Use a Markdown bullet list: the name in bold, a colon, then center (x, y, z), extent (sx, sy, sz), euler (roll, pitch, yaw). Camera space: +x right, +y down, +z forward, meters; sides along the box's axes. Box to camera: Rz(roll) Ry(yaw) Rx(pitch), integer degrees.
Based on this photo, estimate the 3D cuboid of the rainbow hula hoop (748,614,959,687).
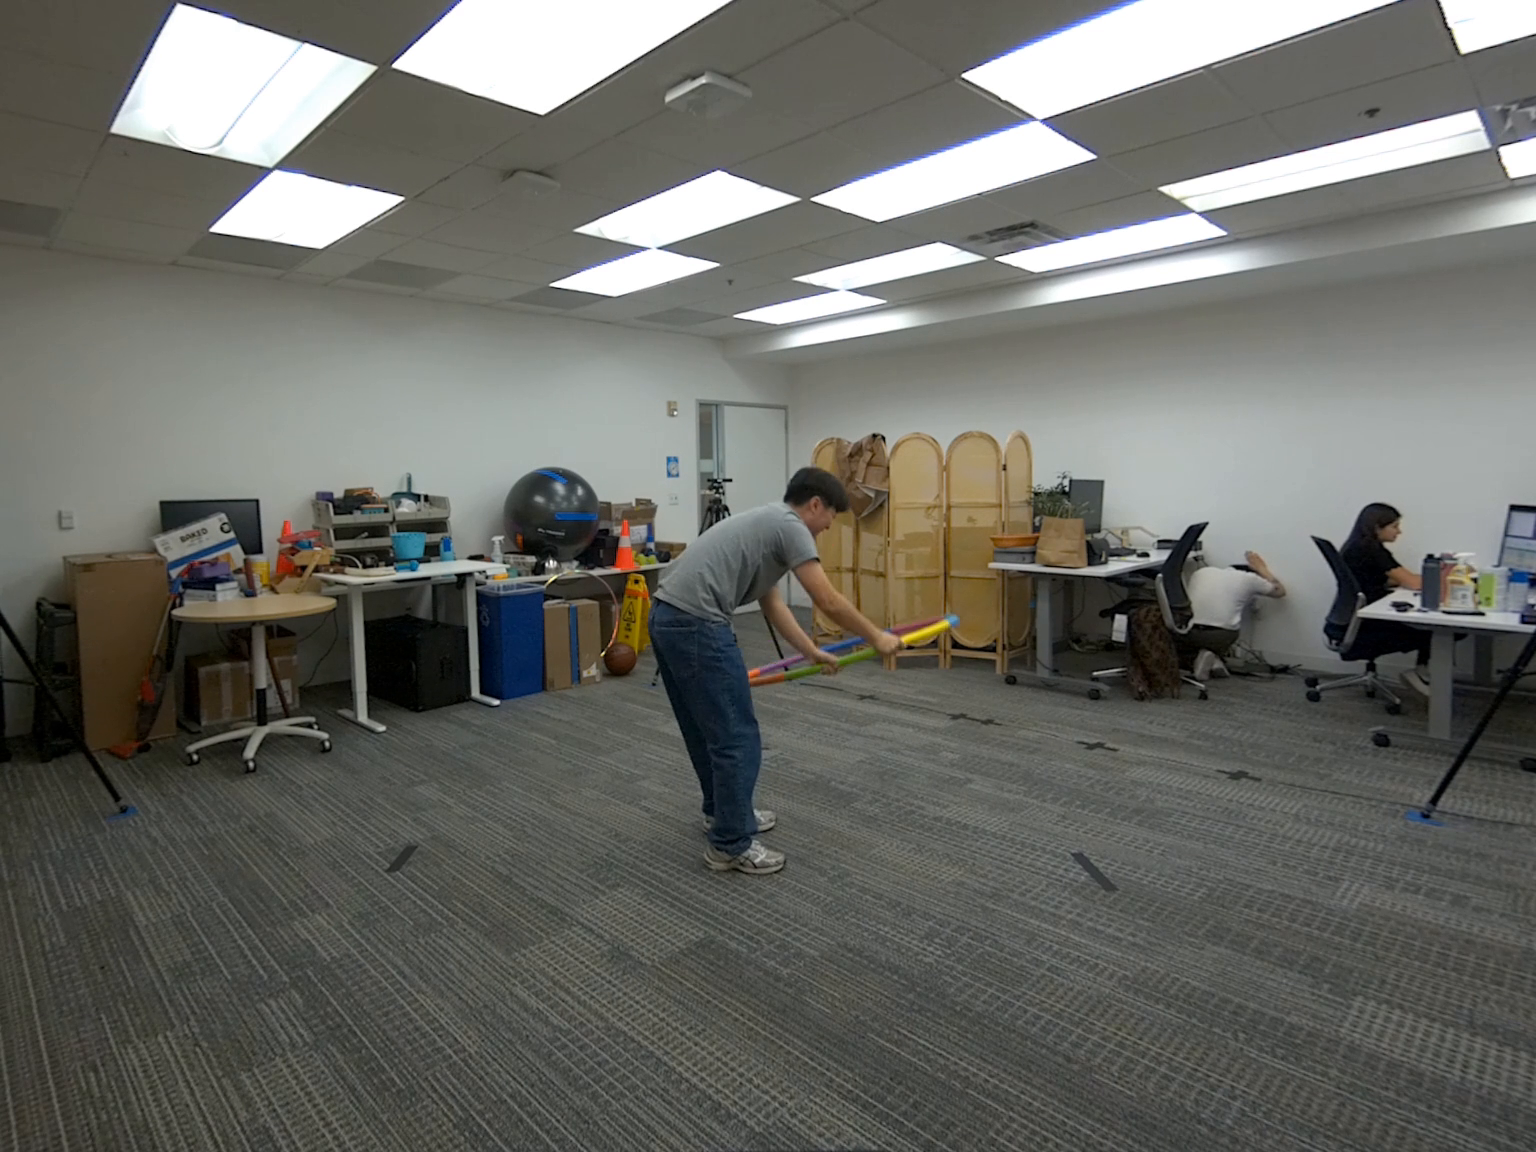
- **rainbow hula hoop**: center (0.322, 0.329, 3.616), extent (0.977, 0.036, 0.975), euler (-17, -2, -3)
